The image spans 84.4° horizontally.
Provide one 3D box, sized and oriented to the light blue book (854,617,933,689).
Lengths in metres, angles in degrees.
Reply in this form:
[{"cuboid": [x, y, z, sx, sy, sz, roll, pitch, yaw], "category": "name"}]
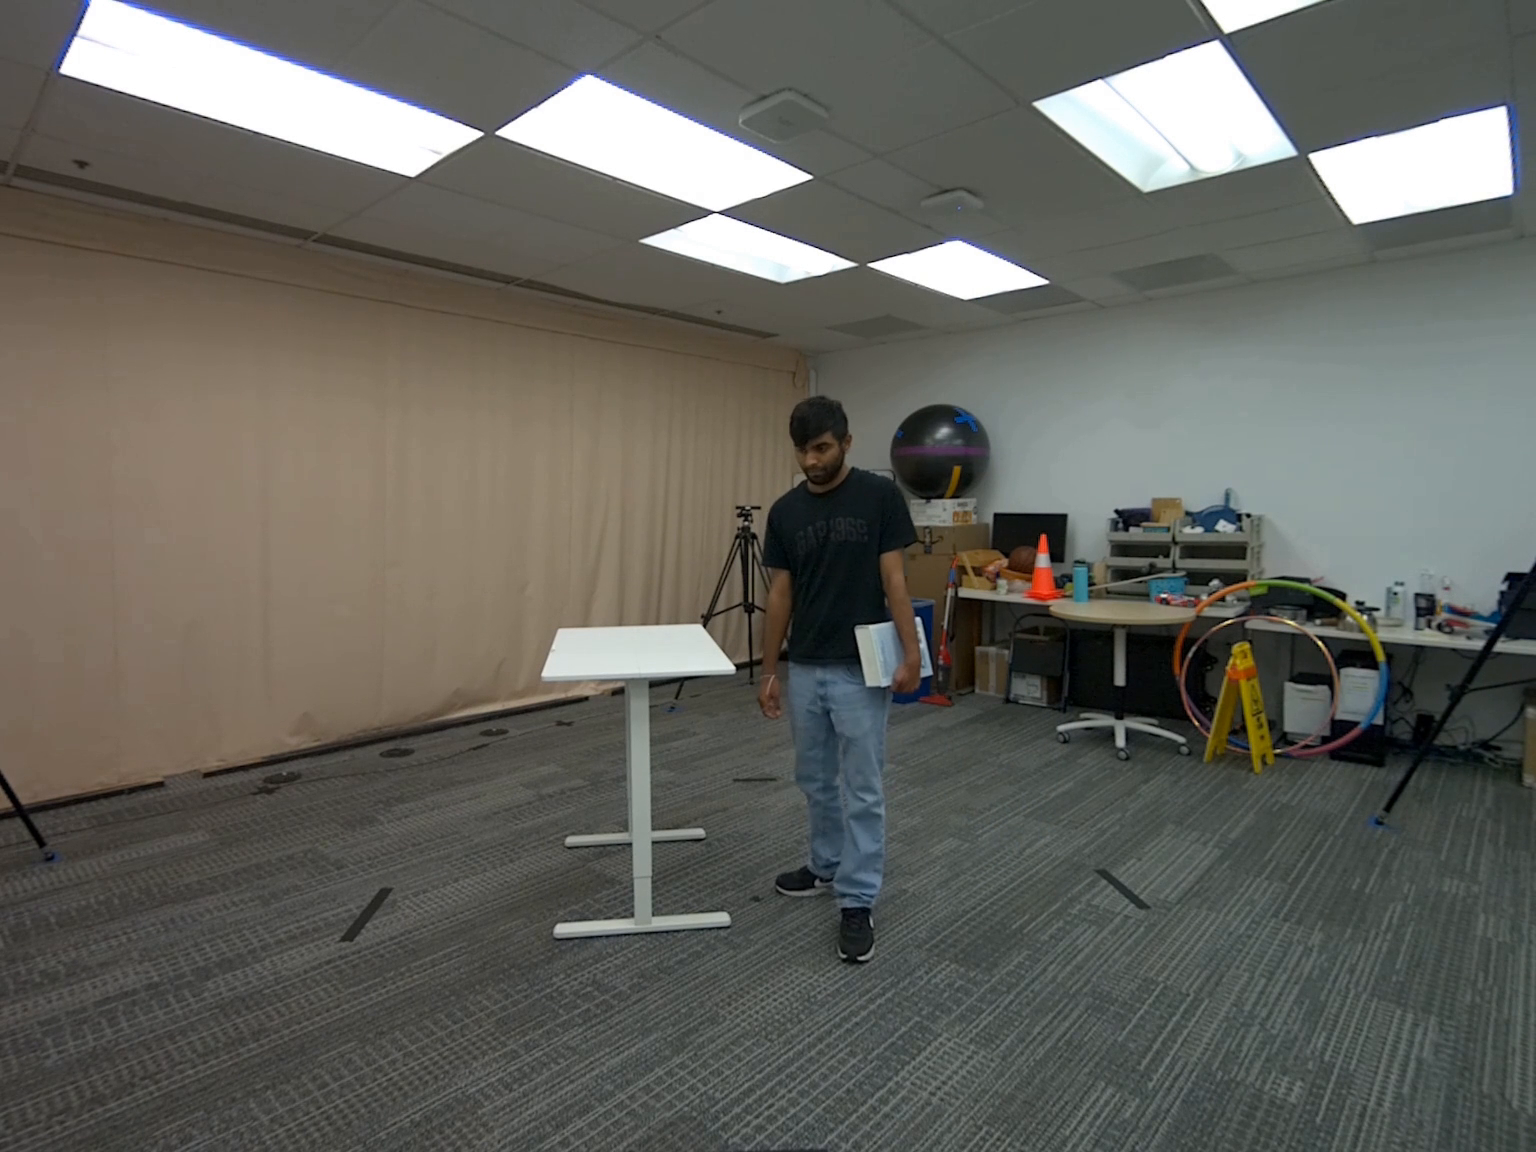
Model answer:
[{"cuboid": [0.397, 0.235, 2.640, 0.253, 0.192, 0.060, -5, -10, -38], "category": "light blue book"}]
